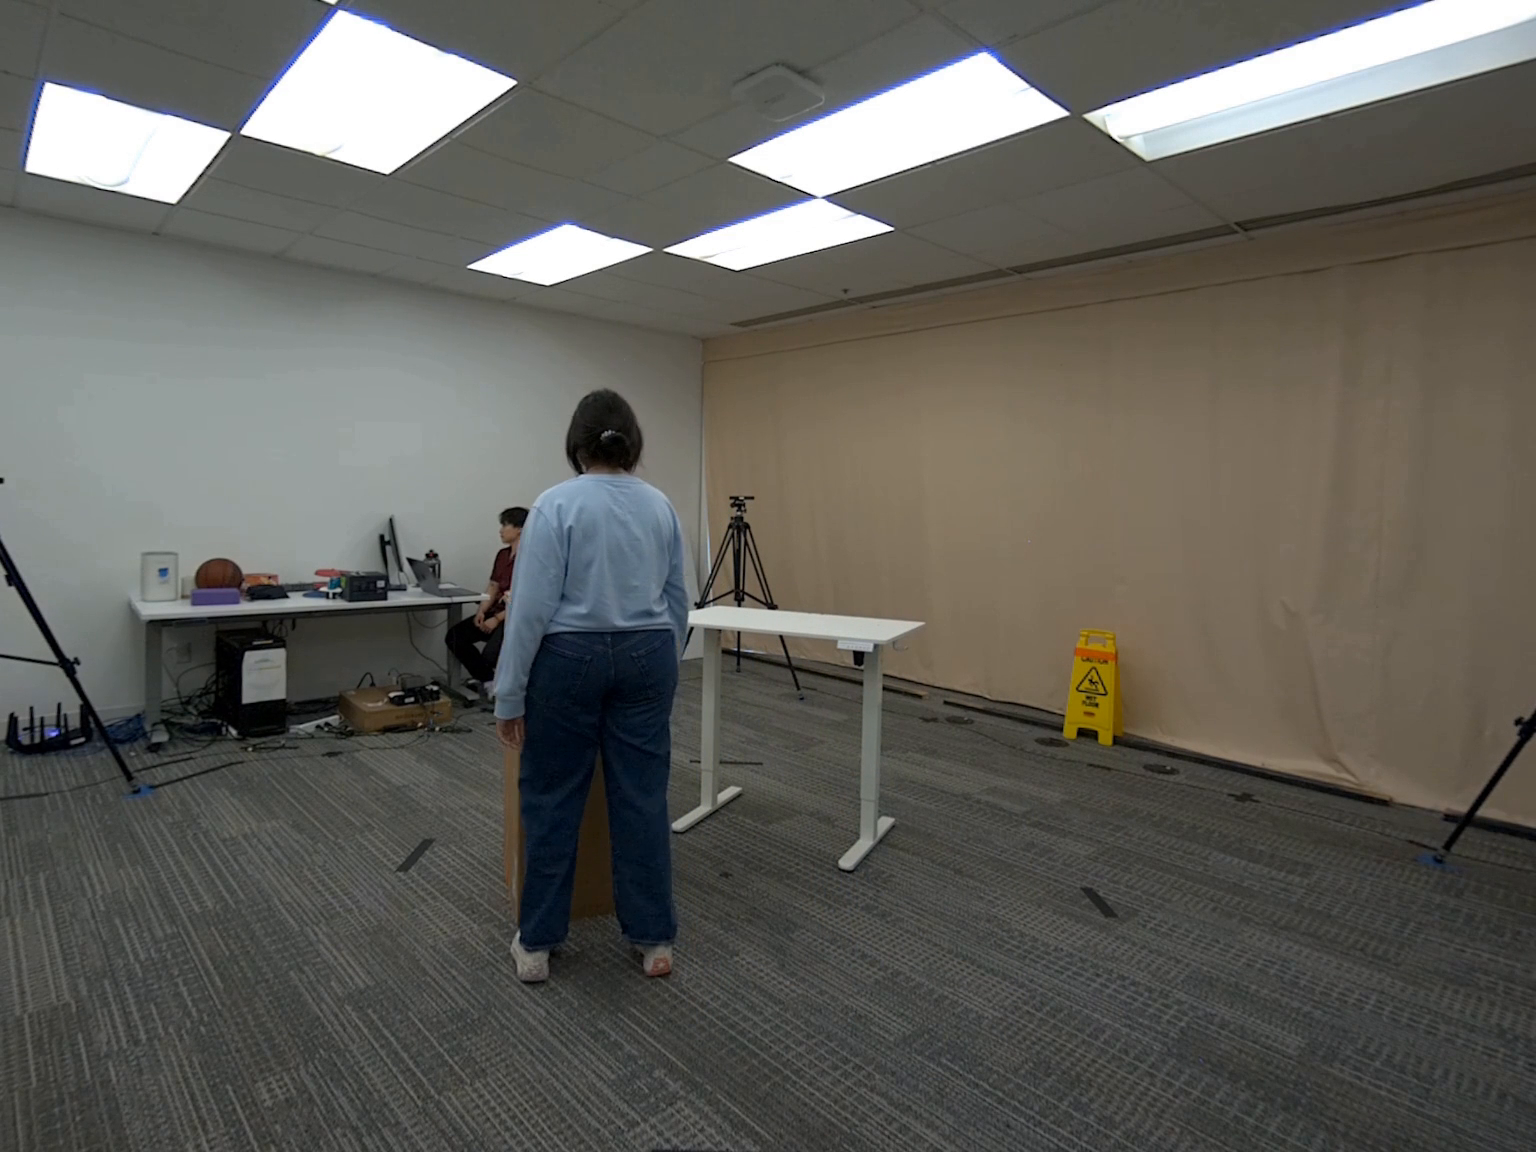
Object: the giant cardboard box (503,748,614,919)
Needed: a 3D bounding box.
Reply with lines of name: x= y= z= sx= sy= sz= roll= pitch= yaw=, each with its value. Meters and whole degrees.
giant cardboard box: x=-0.715 y=0.595 z=3.013 sx=0.419 sy=1.023 sz=0.588 roll=0 pitch=4 yaw=-22
